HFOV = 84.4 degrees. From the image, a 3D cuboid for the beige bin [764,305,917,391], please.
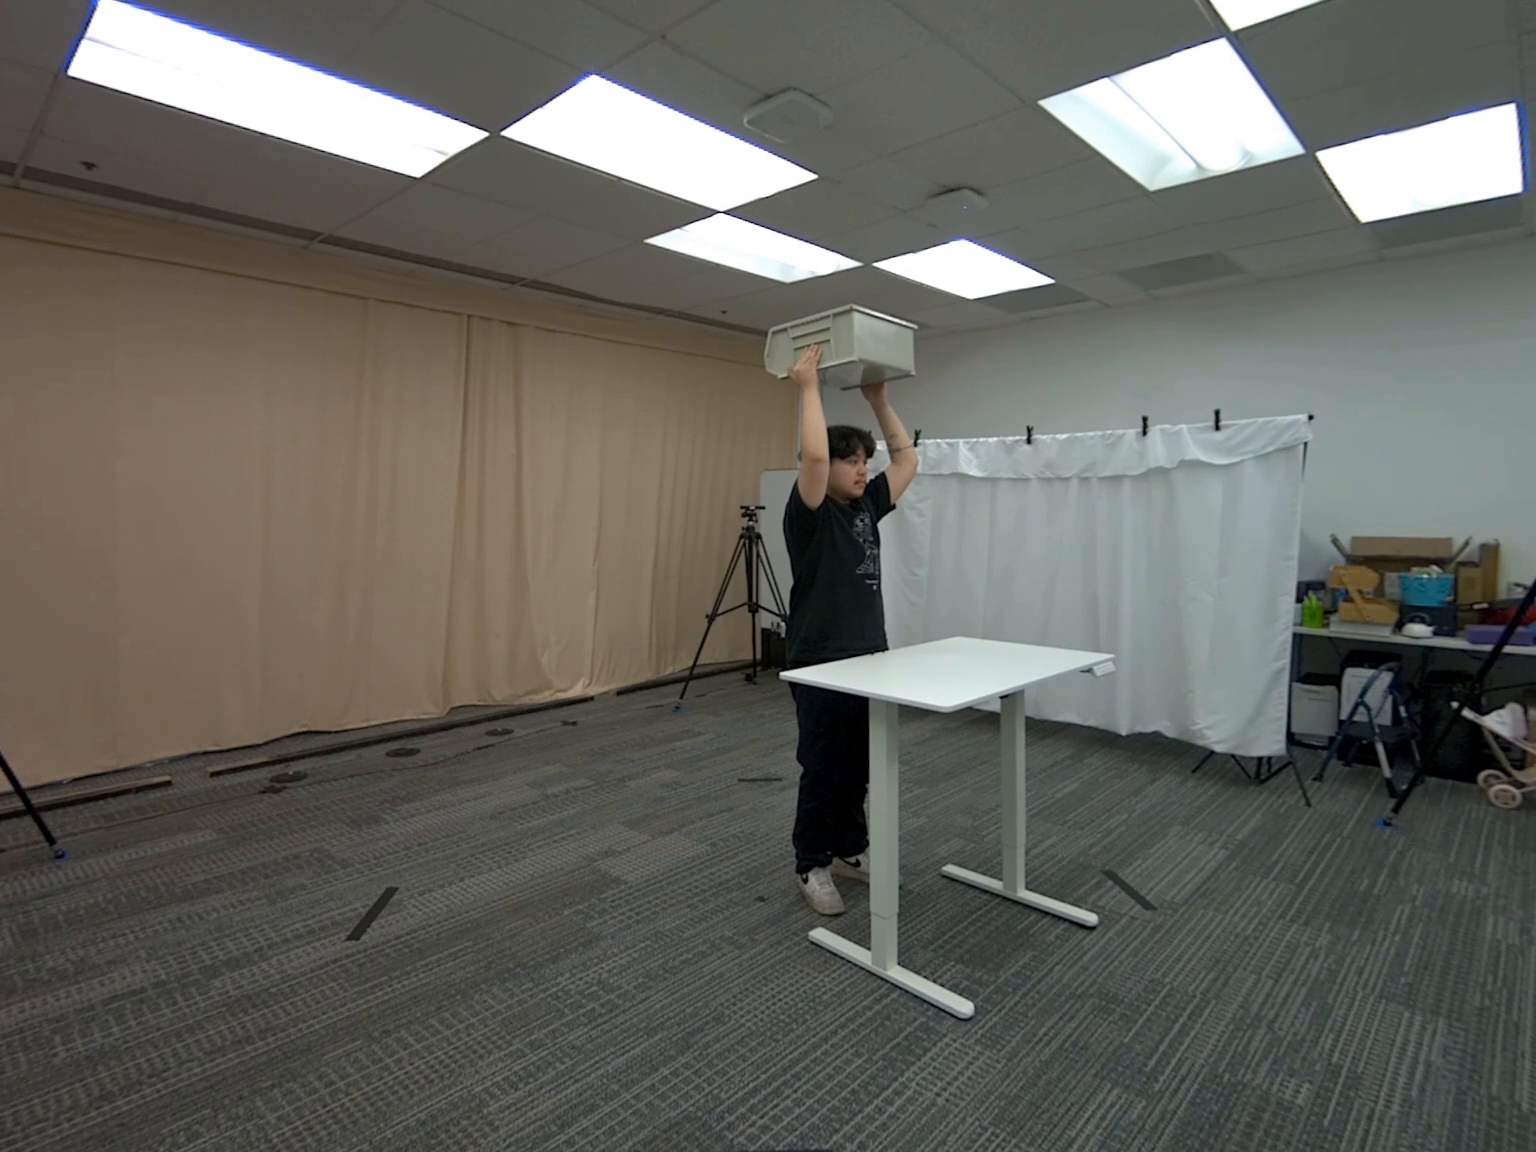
[{"bbox_3d":[0.264,-0.791,2.986,0.389,0.189,0.409,-2,1,40],"label":"beige bin"}]
